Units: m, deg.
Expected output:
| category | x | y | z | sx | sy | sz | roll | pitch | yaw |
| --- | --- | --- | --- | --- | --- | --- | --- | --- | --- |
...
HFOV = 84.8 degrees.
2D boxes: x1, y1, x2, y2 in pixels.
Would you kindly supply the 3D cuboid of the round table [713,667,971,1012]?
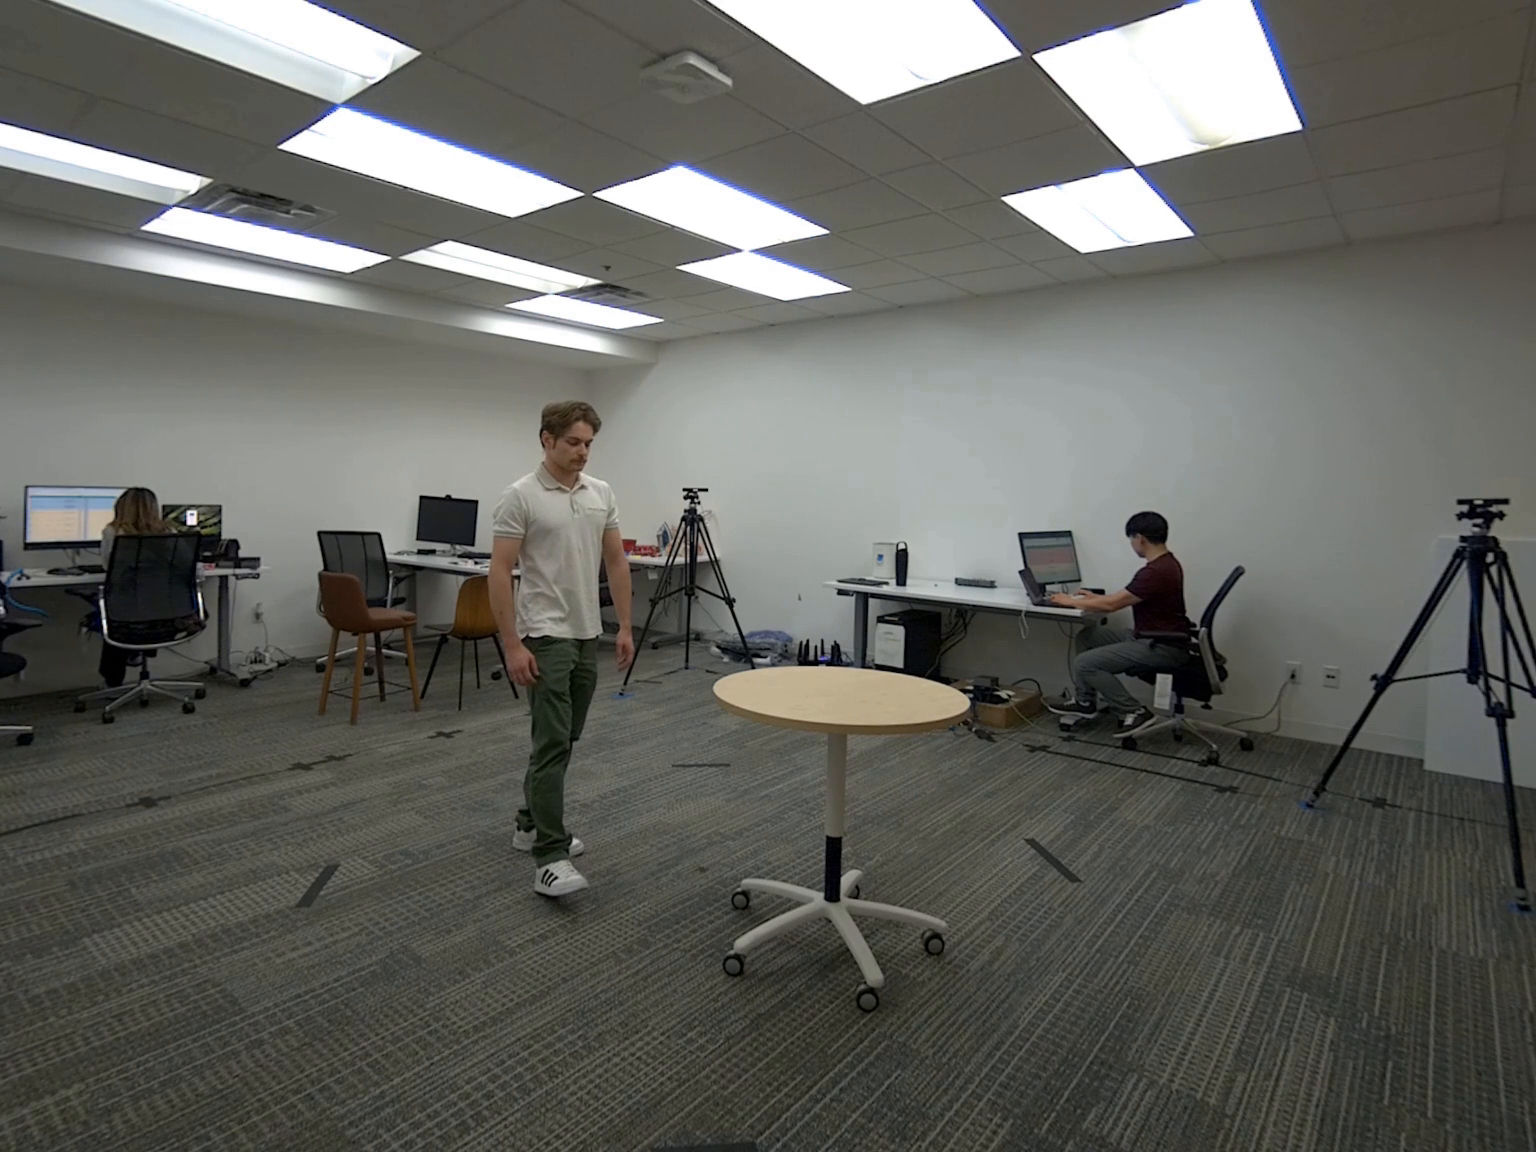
| category | x | y | z | sx | sy | sz | roll | pitch | yaw |
| --- | --- | --- | --- | --- | --- | --- | --- | --- | --- |
| round table | 0.177 | 0.735 | 2.597 | 0.784 | 0.784 | 0.788 | 2 | 4 | -2 |
